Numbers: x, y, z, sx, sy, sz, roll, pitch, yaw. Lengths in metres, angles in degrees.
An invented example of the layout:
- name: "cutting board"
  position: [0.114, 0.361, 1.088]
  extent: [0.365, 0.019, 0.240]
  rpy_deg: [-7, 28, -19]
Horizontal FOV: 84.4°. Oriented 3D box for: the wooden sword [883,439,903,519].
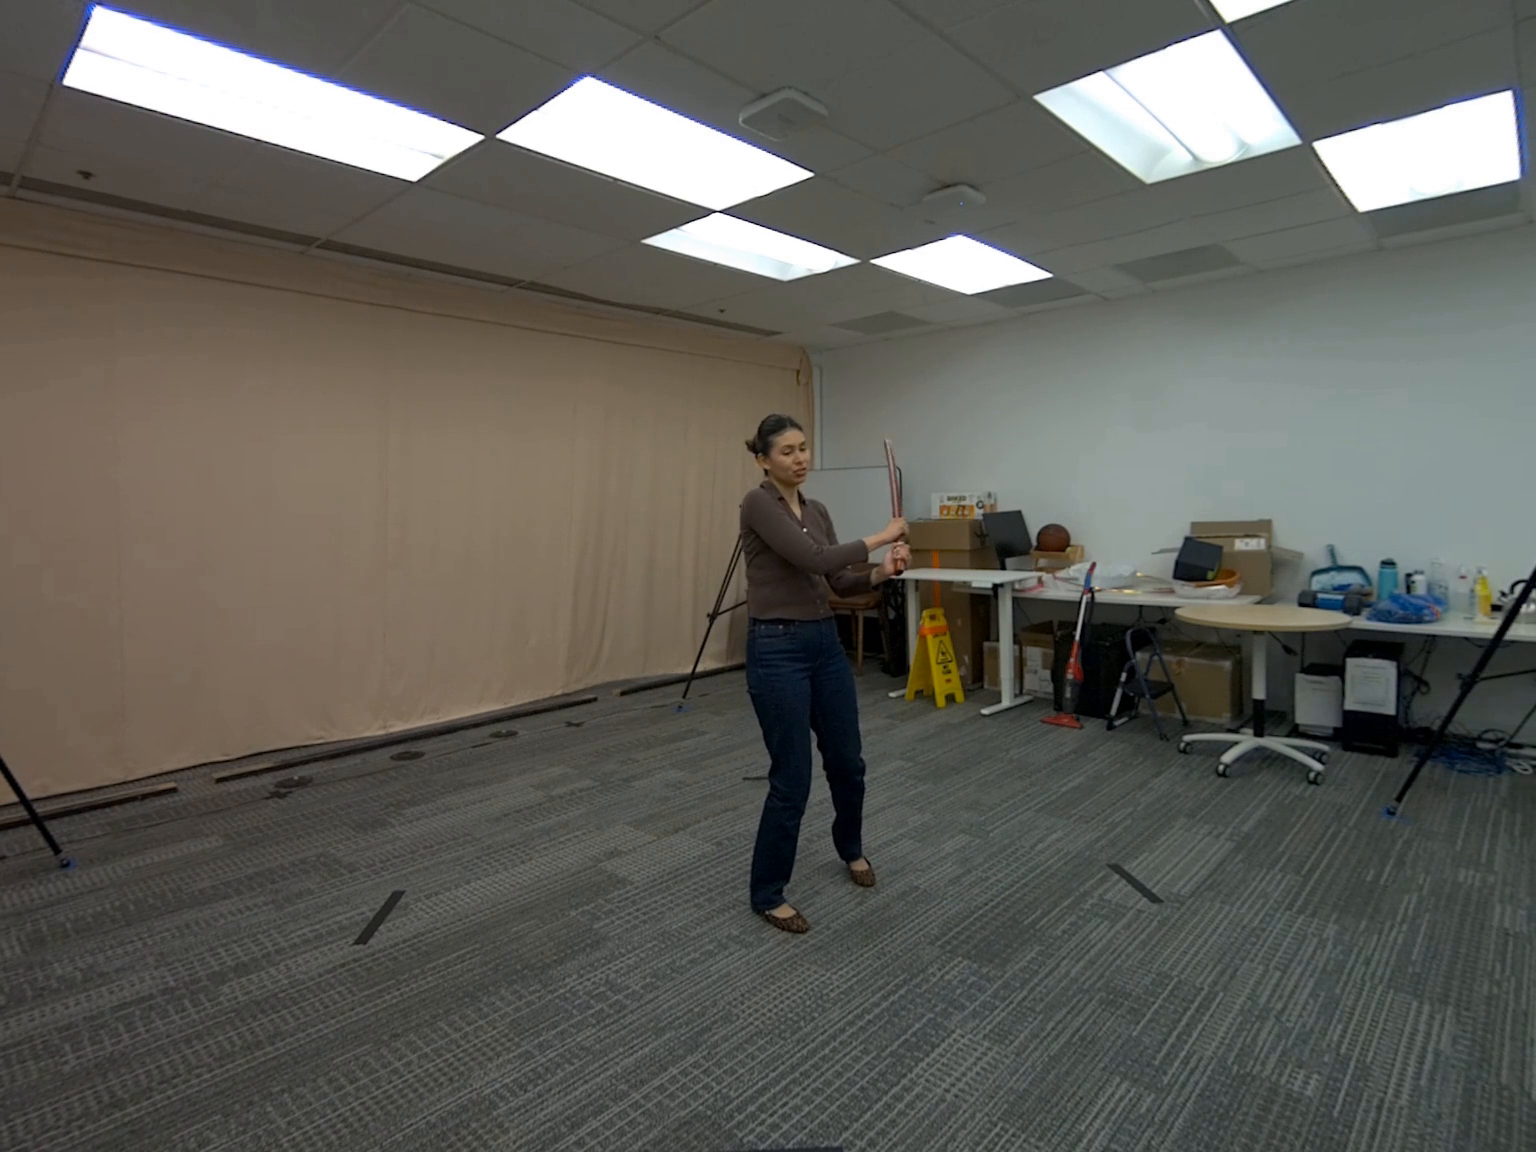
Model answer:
- name: "wooden sword"
  position: [0.497, -0.299, 3.040]
  extent: [0.024, 0.051, 1.035]
  rpy_deg: [32, 27, -13]
